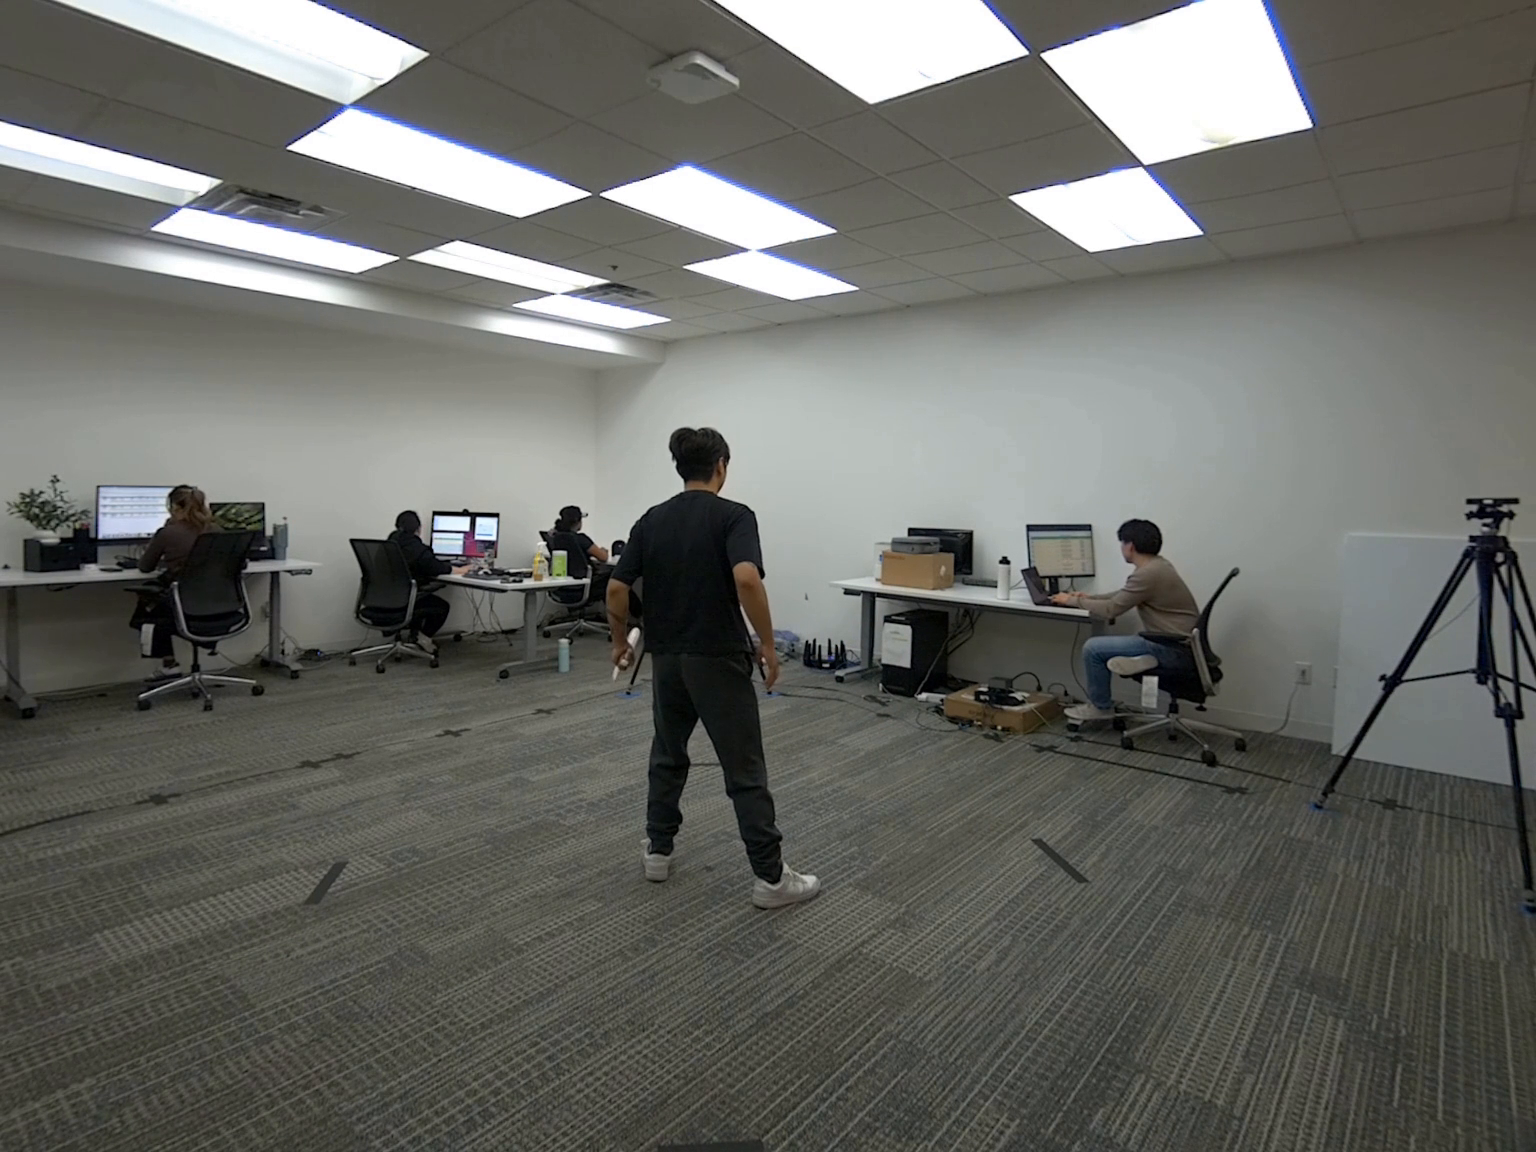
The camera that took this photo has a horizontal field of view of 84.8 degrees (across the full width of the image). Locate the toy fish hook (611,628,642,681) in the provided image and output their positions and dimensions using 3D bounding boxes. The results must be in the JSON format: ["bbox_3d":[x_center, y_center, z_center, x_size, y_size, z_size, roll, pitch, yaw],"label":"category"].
[{"bbox_3d":[-0.540,0.322,3.210,0.048,0.224,0.511,20,6,-6],"label":"toy fish hook"}]
